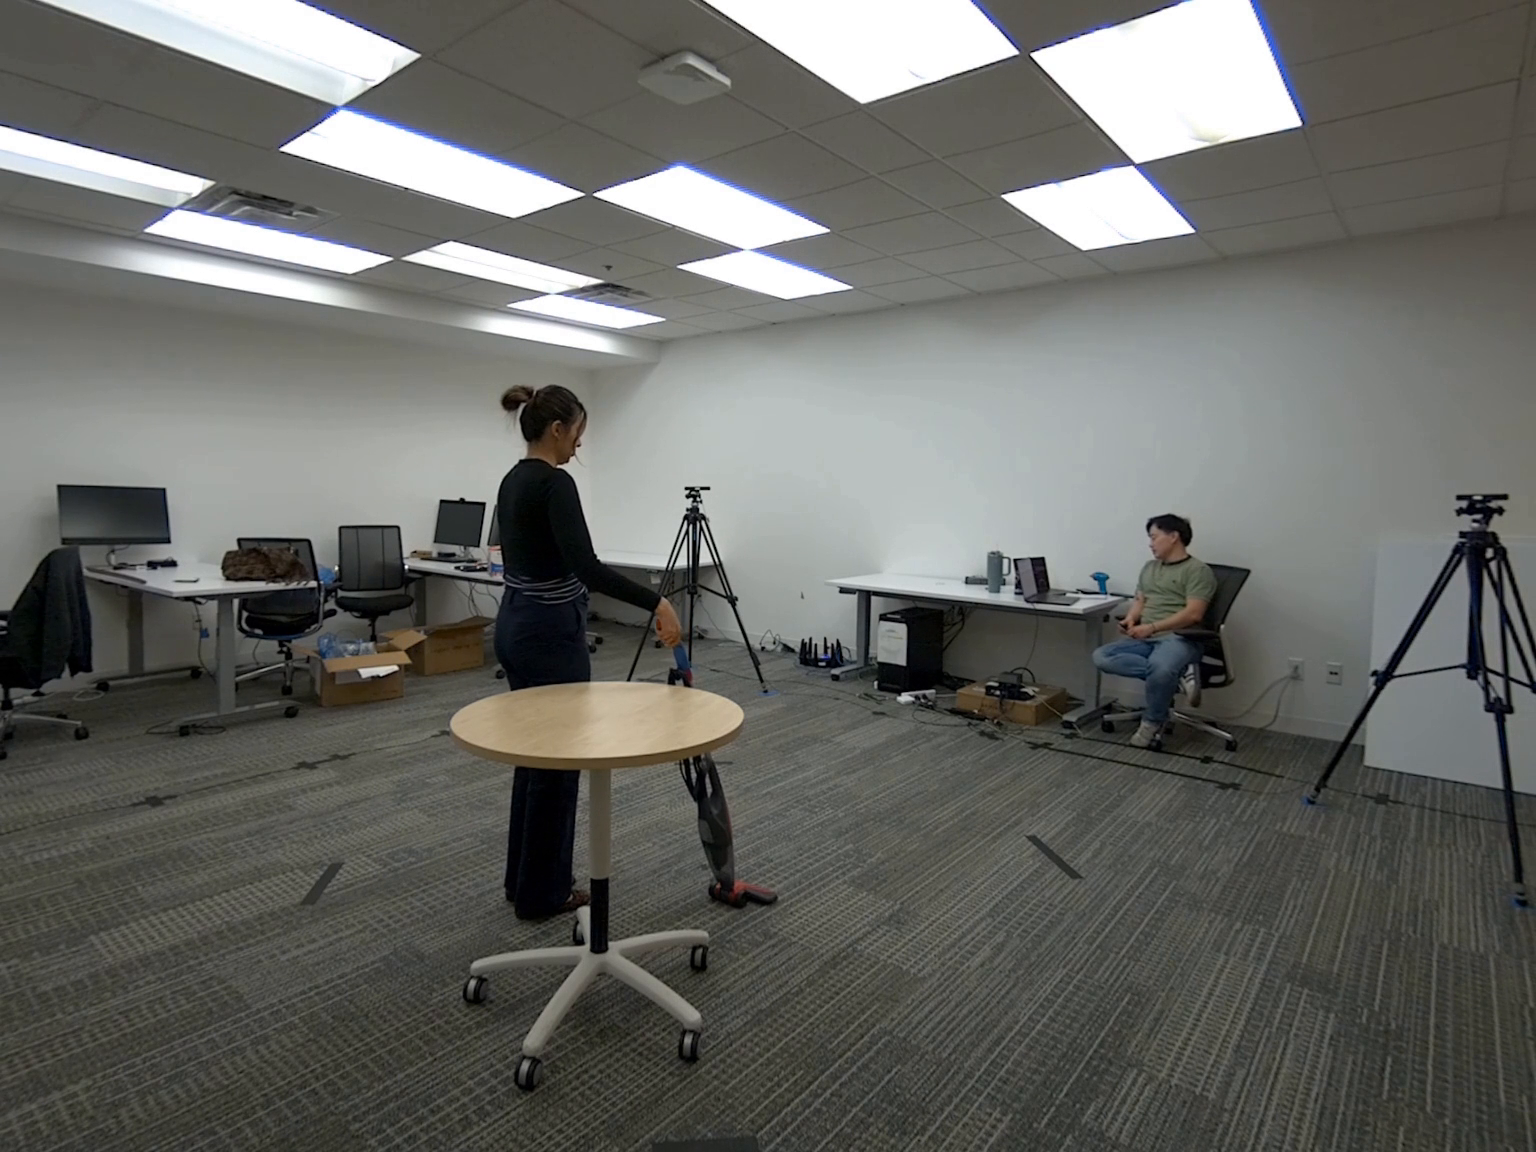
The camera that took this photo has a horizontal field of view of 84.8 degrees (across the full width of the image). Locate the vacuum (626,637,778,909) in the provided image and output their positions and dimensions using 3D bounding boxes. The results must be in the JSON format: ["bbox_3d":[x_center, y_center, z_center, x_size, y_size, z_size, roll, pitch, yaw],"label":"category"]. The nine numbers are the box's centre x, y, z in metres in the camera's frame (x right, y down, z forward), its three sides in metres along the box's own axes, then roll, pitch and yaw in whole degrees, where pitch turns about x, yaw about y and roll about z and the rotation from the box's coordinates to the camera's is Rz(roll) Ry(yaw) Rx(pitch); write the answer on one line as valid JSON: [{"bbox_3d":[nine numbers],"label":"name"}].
[{"bbox_3d":[-0.219,0.622,2.723,0.261,1.026,0.142,4,25,40],"label":"vacuum"}]
